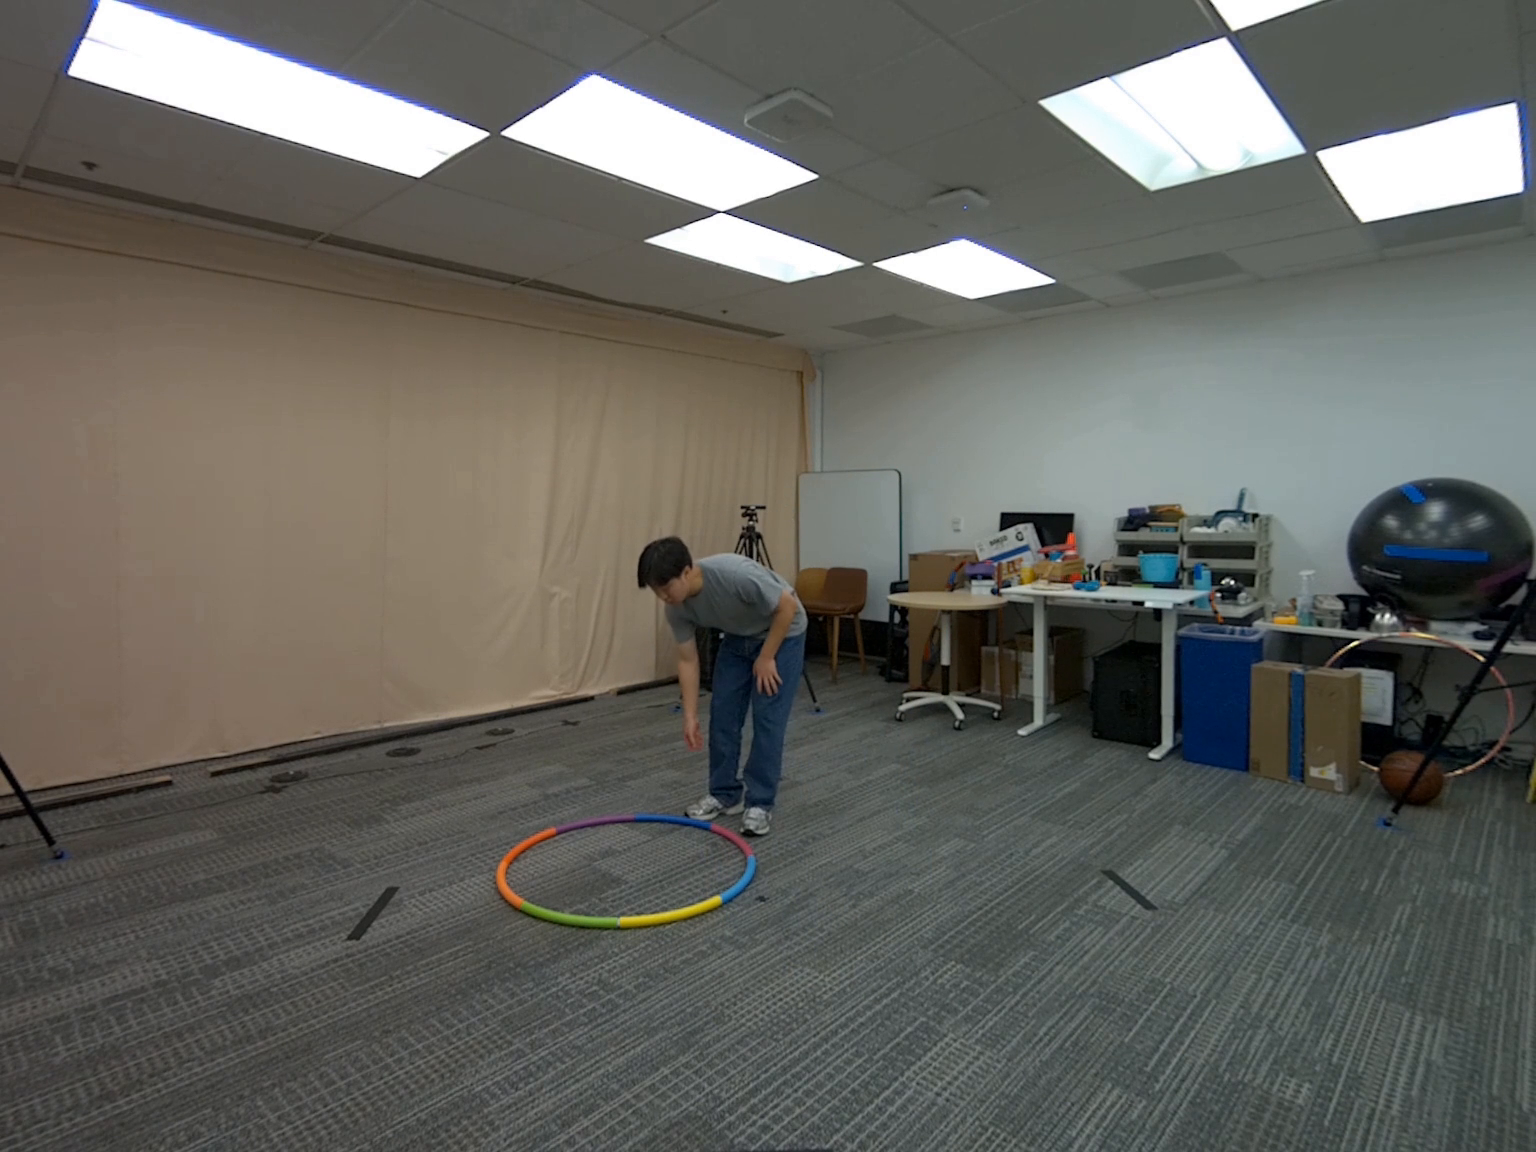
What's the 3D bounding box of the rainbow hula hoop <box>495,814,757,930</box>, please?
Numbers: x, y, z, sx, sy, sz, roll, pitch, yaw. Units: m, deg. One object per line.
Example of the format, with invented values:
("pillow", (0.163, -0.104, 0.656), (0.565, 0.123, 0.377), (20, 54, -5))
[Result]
("rainbow hula hoop", (-0.542, 1.096, 3.254), (0.978, 0.035, 0.982), (-1, 4, -2))
